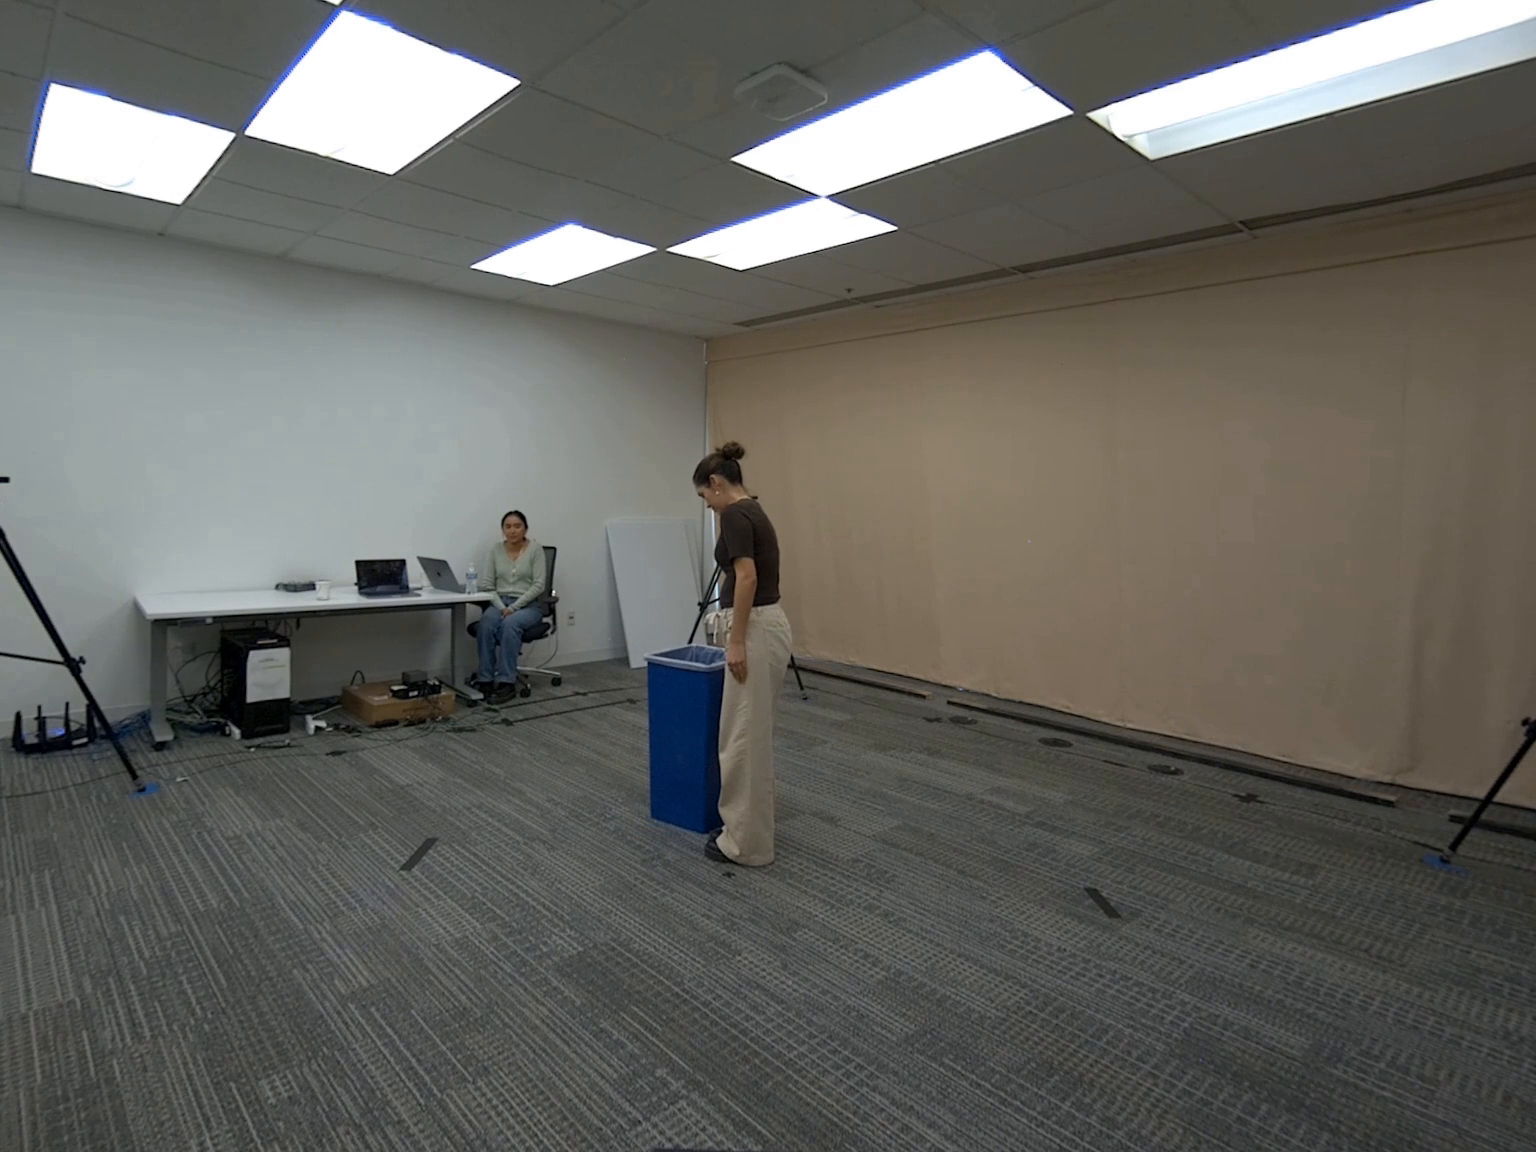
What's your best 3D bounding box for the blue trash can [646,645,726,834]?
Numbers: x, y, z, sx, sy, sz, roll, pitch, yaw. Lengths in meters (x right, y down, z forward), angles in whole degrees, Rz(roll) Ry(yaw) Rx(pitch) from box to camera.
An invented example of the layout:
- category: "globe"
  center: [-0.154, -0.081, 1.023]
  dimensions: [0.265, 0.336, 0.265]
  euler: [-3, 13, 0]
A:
- category: "blue trash can"
  center: [-0.315, 0.692, 3.661]
  dimensions: [0.383, 0.711, 0.370]
  euler: [5, 5, 33]
